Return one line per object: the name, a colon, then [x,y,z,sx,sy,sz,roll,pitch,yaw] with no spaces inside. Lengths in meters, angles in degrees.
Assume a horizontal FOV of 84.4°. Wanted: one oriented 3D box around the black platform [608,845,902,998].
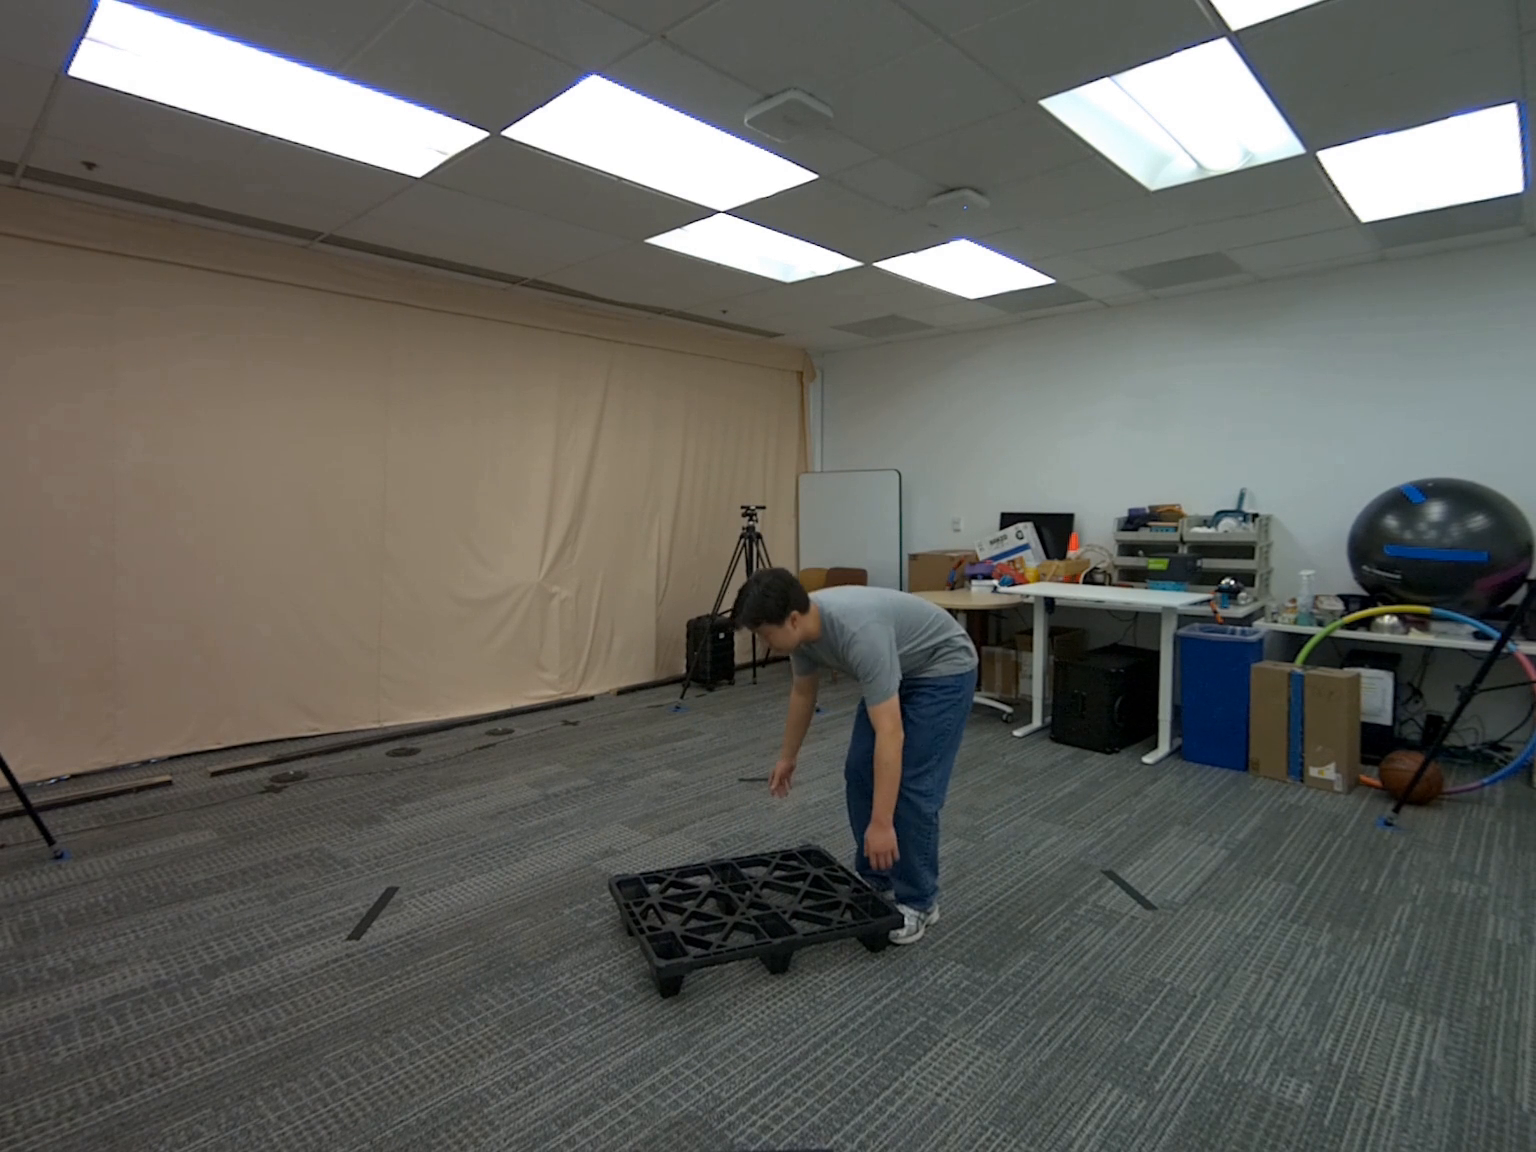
black platform: [-0.066,1.104,2.723,0.789,0.143,0.619,-2,5,-21]
